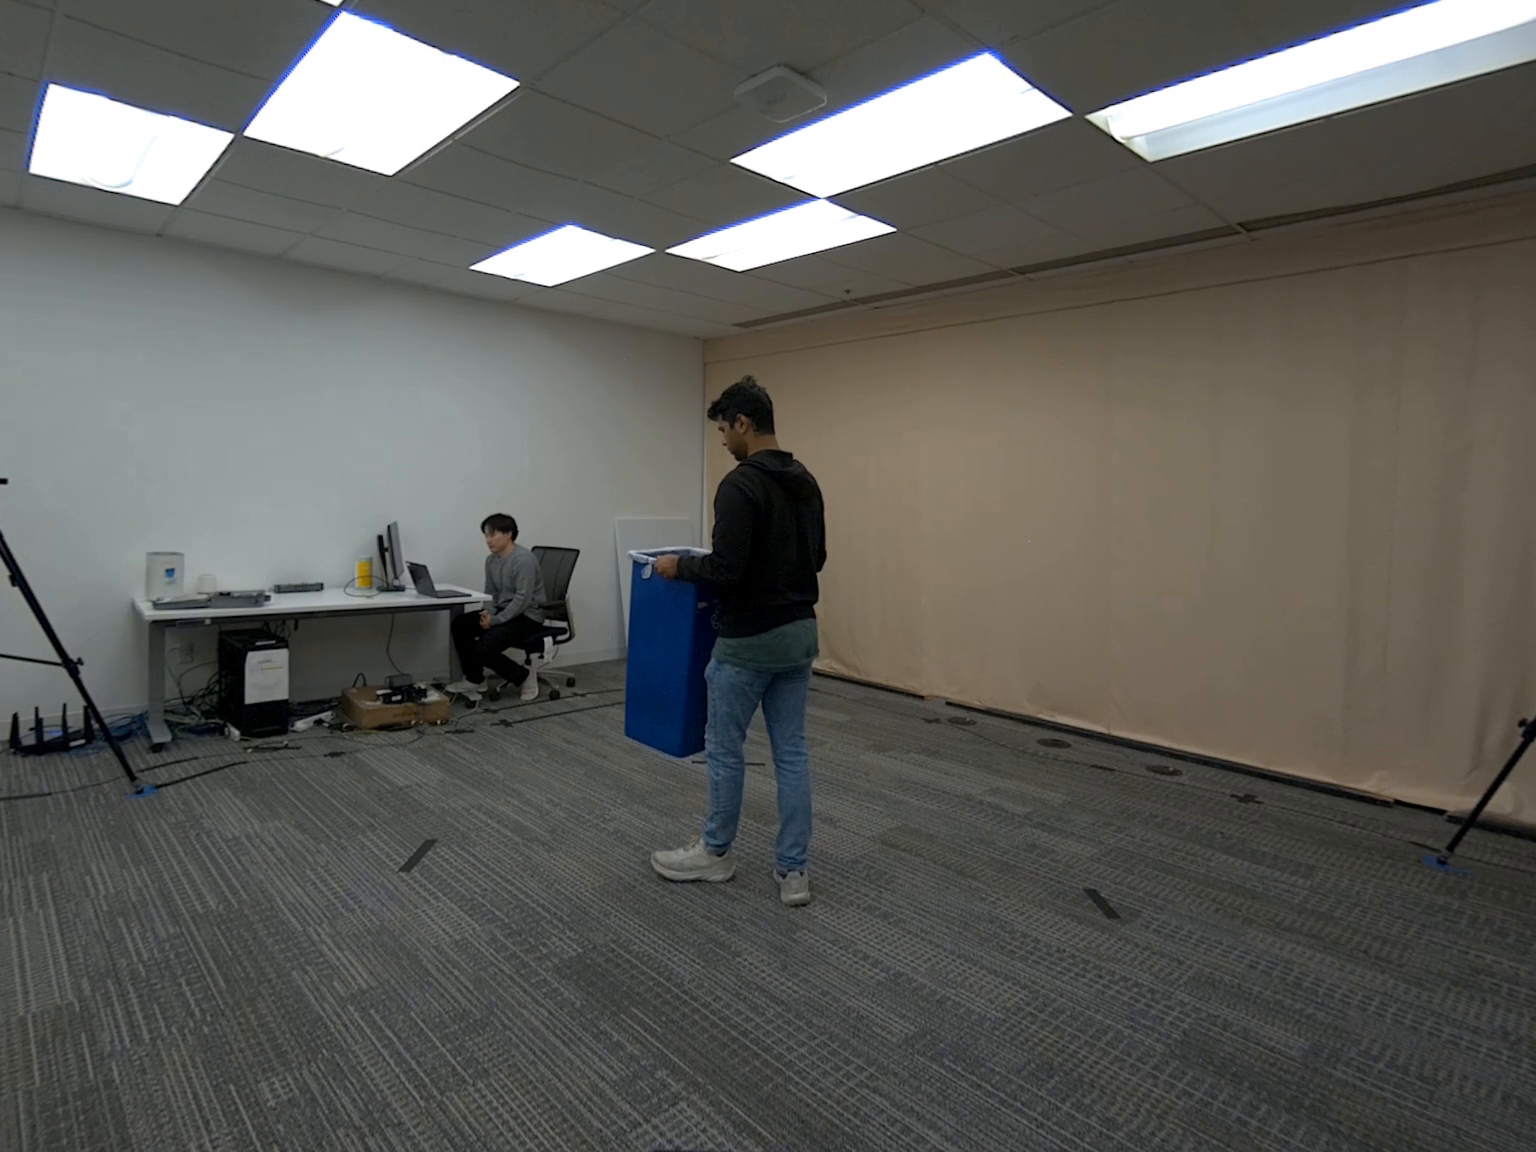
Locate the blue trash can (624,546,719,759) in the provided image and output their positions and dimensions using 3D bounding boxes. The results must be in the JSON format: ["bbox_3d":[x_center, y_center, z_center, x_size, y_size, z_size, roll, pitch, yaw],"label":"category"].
[{"bbox_3d":[-0.321,0.283,3.224,0.388,0.709,0.366,12,10,36],"label":"blue trash can"}]
